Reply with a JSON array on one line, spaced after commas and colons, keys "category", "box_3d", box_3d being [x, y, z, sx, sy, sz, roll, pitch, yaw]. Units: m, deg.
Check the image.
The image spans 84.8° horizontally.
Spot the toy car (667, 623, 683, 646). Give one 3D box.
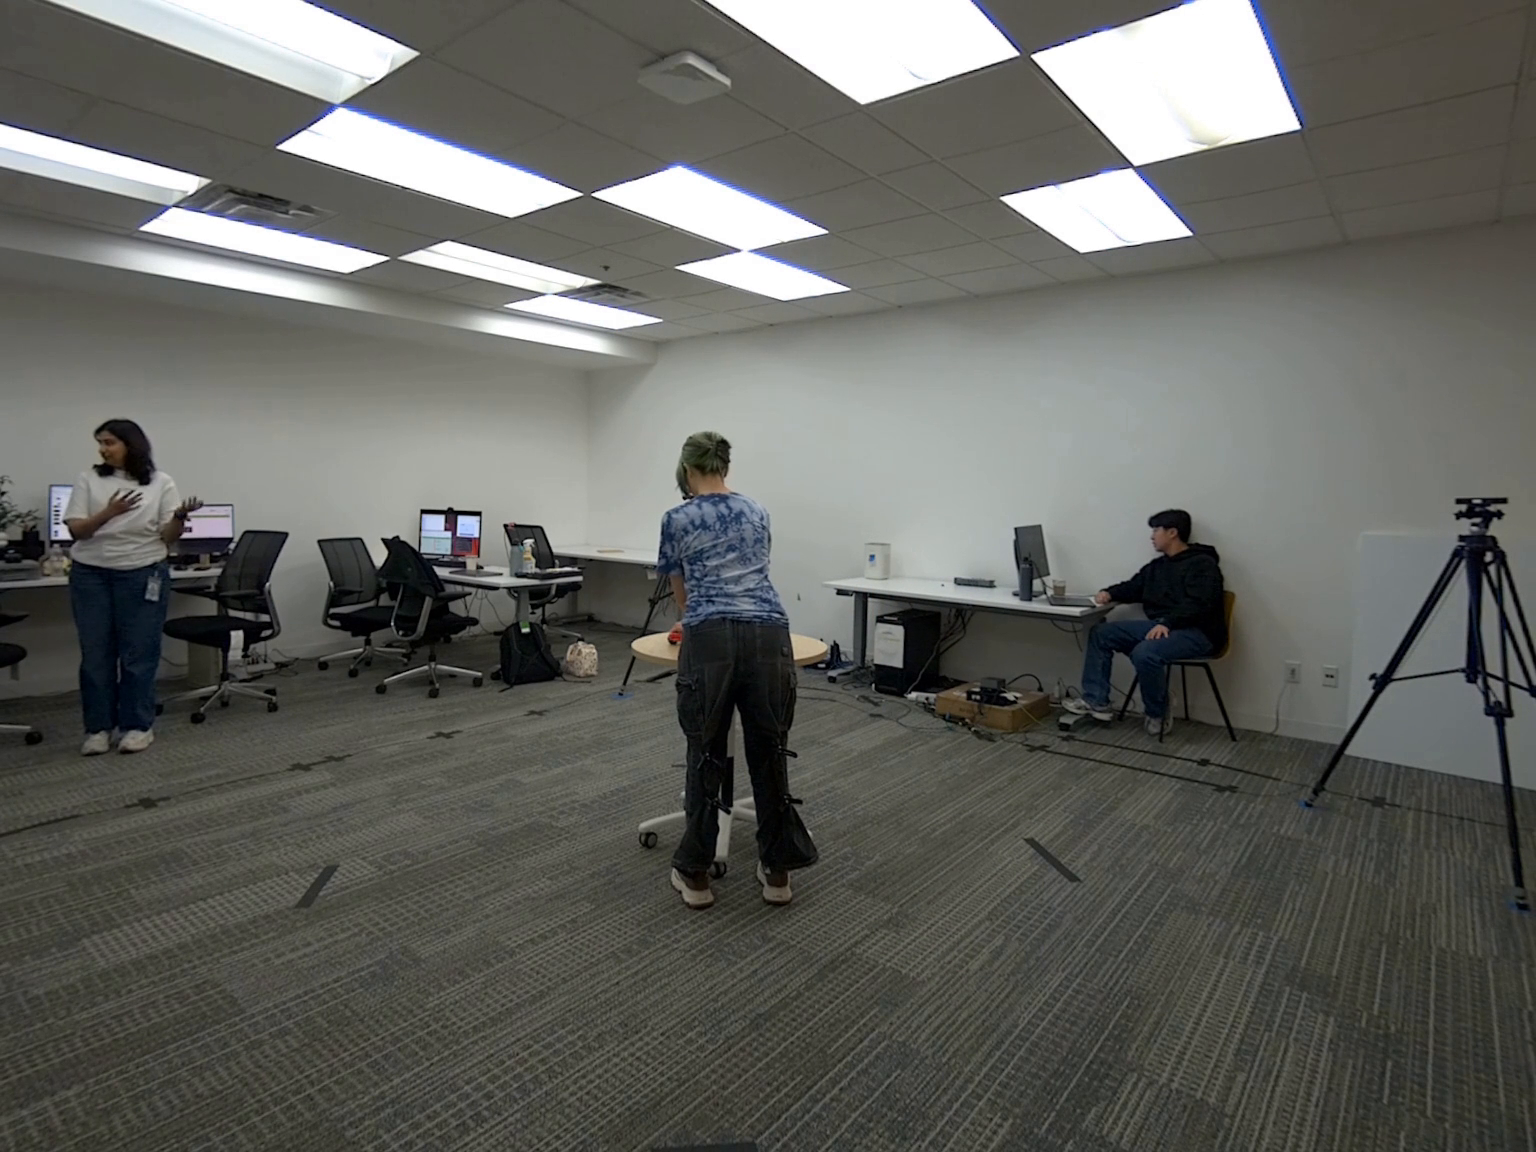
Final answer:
[{"category": "toy car", "box_3d": [-0.303, 0.228, 3.395, 0.133, 0.082, 0.252, 1, 17, 24]}]
